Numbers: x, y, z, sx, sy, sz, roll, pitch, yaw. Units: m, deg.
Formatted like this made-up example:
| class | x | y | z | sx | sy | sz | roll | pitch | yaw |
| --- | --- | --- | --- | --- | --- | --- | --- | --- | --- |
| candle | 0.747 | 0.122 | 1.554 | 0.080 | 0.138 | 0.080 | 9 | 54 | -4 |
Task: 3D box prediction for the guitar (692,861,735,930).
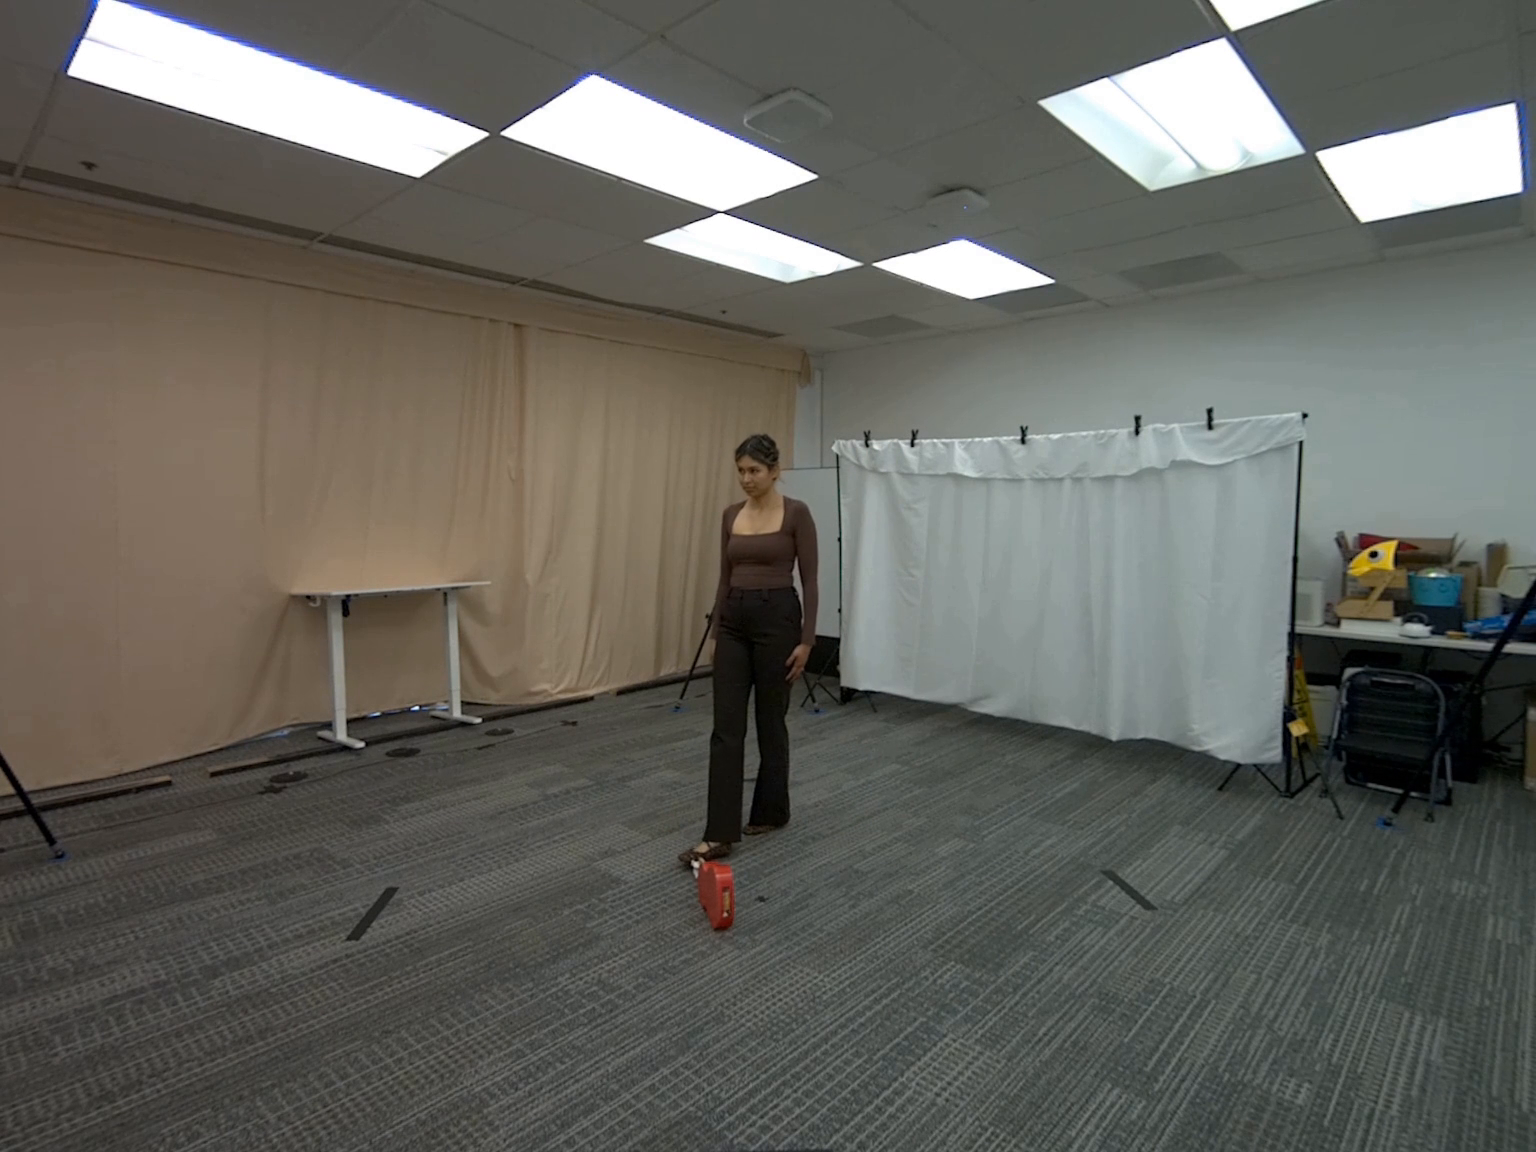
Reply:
| class | x | y | z | sx | sy | sz | roll | pitch | yaw |
| --- | --- | --- | --- | --- | --- | --- | --- | --- | --- |
| guitar | -0.213 | 1.097 | 2.968 | 0.069 | 0.195 | 0.502 | 2 | -14 | -18 |
